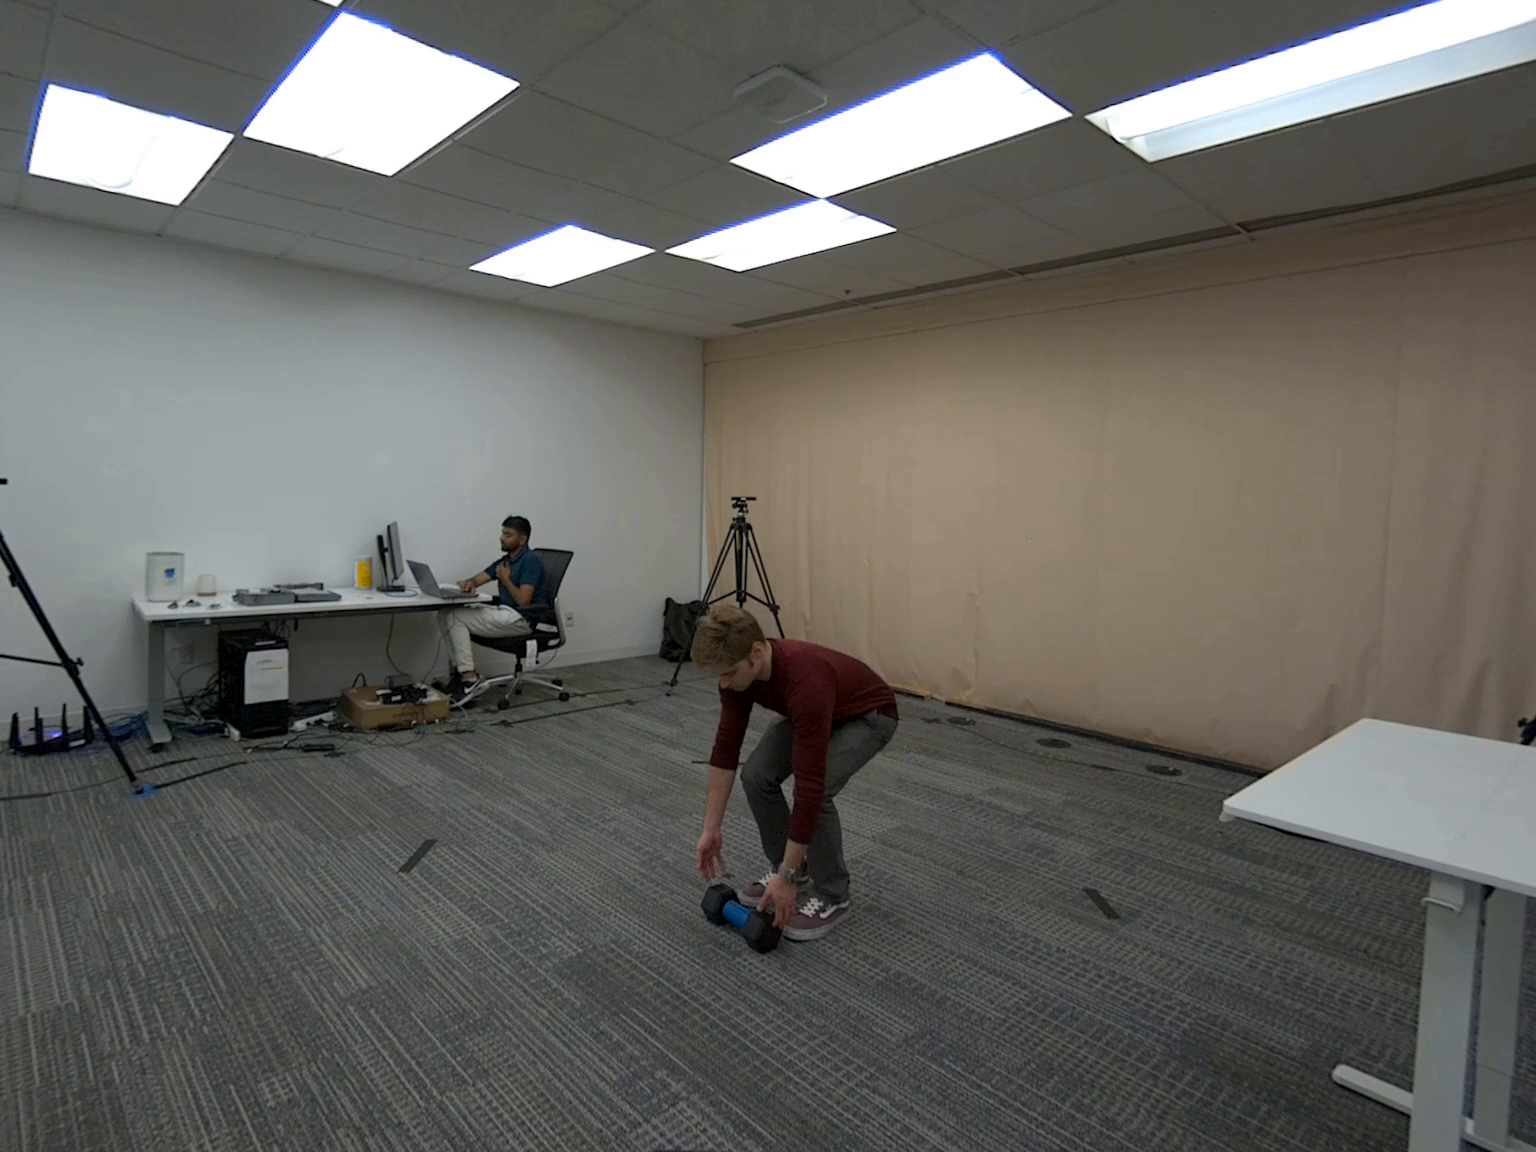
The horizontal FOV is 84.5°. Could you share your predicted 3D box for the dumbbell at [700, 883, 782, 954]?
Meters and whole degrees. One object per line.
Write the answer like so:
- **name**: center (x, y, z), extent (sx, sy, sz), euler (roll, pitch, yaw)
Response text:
- **dumbbell**: center (-0.093, 1.090, 2.694), extent (0.108, 0.120, 0.301), euler (-38, 27, -31)
